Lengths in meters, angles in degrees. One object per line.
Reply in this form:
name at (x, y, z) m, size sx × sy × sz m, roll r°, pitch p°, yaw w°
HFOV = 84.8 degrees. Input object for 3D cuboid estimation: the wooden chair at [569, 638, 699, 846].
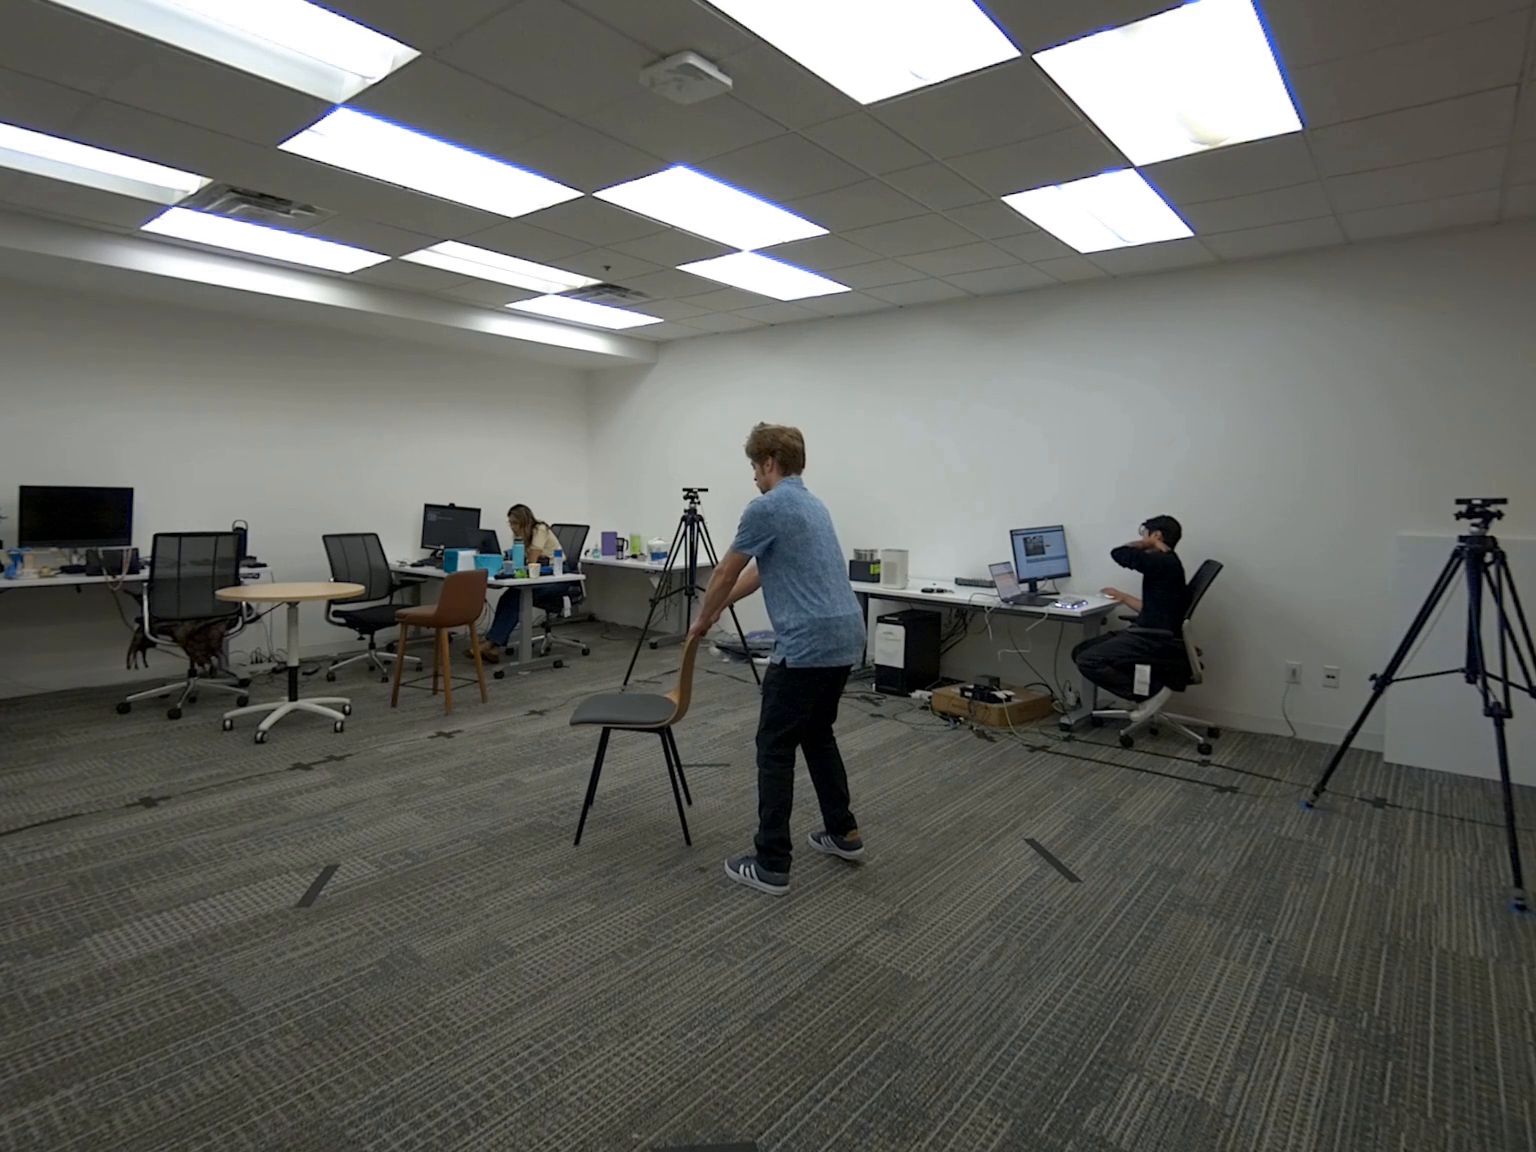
wooden chair at (-0.555, 0.597, 3.492) m, size 0.521 × 0.875 × 0.481 m, roll 5°, pitch 3°, yaw -4°
